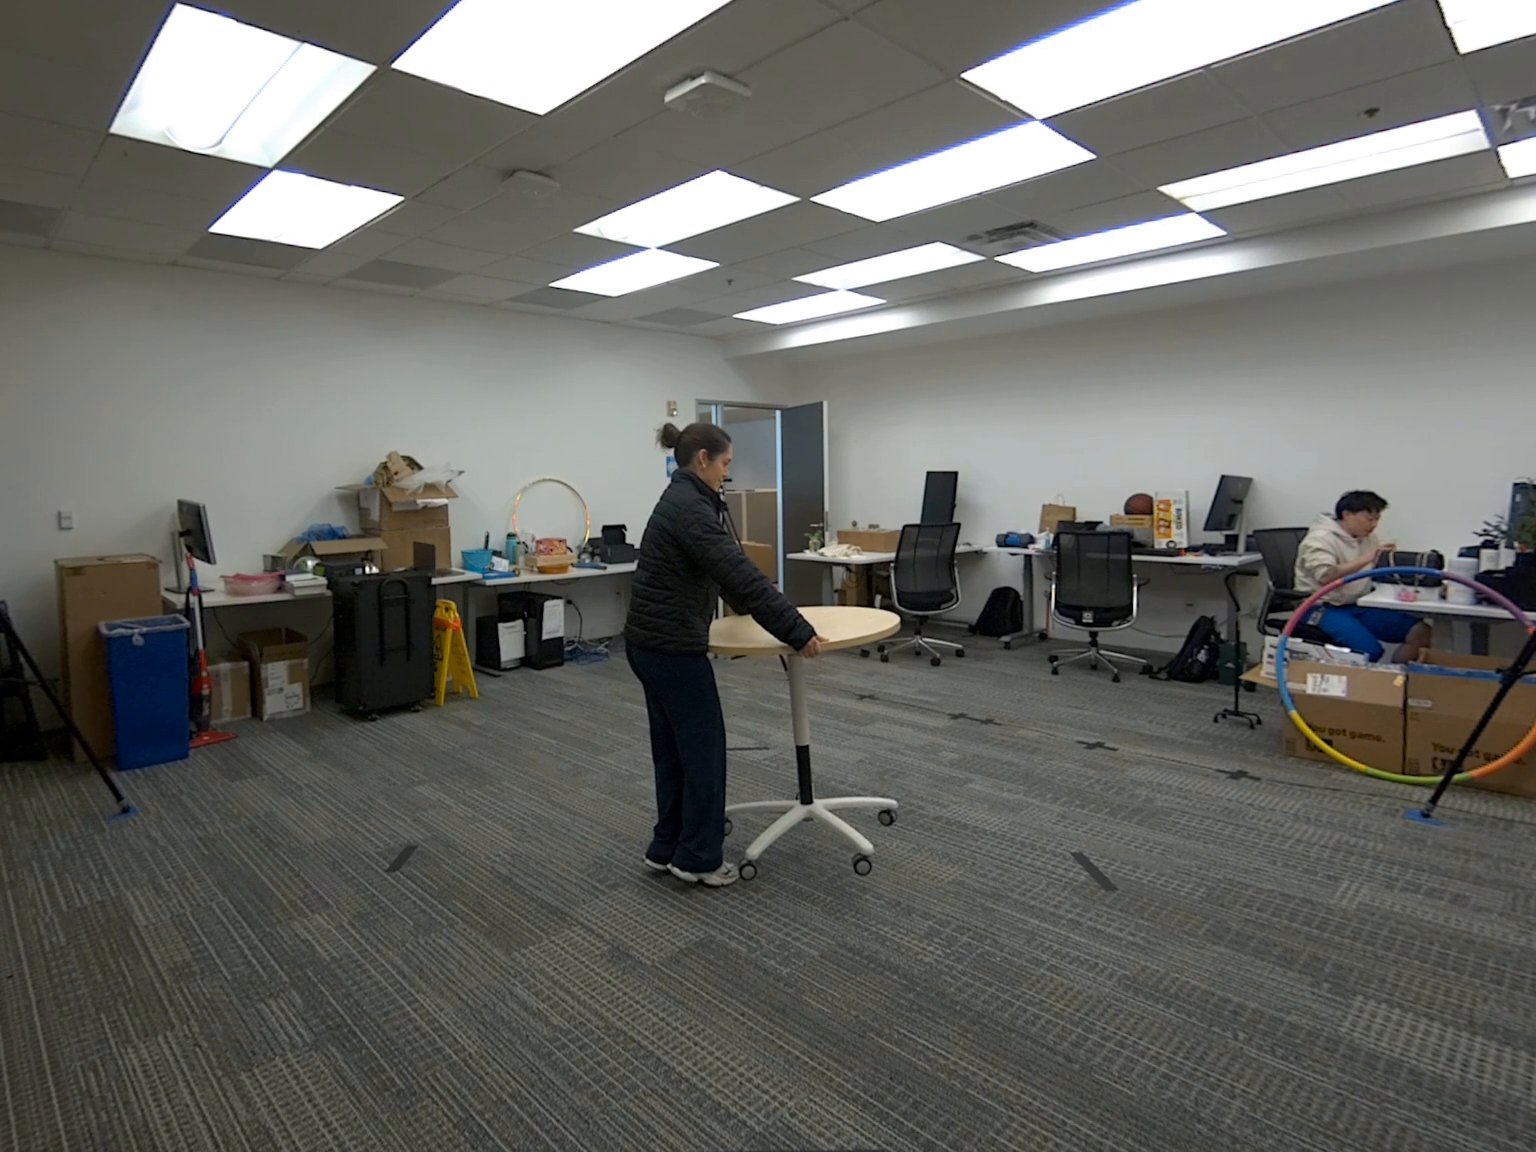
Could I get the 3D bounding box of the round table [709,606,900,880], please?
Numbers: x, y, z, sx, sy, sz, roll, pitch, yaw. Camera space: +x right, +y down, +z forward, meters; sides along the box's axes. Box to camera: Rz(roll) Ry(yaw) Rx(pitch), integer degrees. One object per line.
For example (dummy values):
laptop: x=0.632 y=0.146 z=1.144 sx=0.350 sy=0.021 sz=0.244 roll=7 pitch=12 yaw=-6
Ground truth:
round table: x=0.112 y=0.573 z=3.111 sx=0.785 sy=0.783 sz=0.789 roll=-5 pitch=5 yaw=-1
